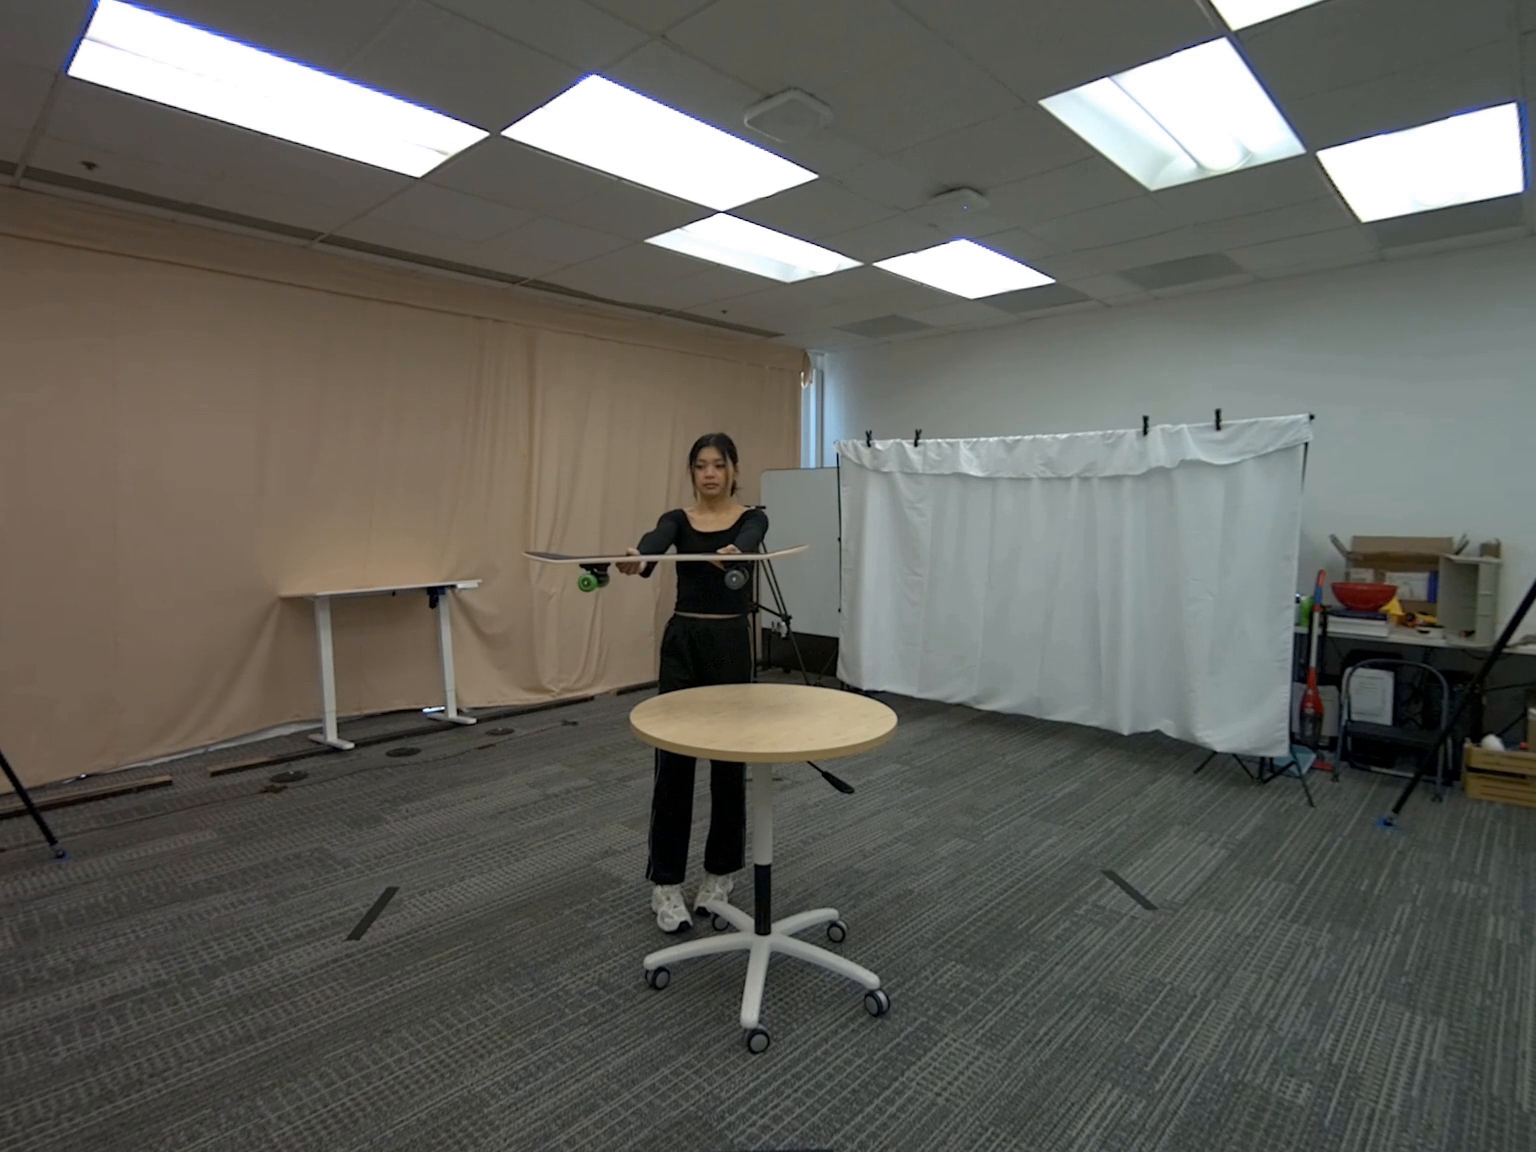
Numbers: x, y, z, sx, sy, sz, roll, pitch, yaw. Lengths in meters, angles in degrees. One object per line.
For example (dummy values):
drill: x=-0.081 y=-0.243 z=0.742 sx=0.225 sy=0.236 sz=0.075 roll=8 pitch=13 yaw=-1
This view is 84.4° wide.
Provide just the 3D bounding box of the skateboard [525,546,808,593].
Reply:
skateboard: x=-0.310 y=-0.018 z=2.311 sx=0.790 sy=0.110 sz=0.192 roll=-1 pitch=2 yaw=5
